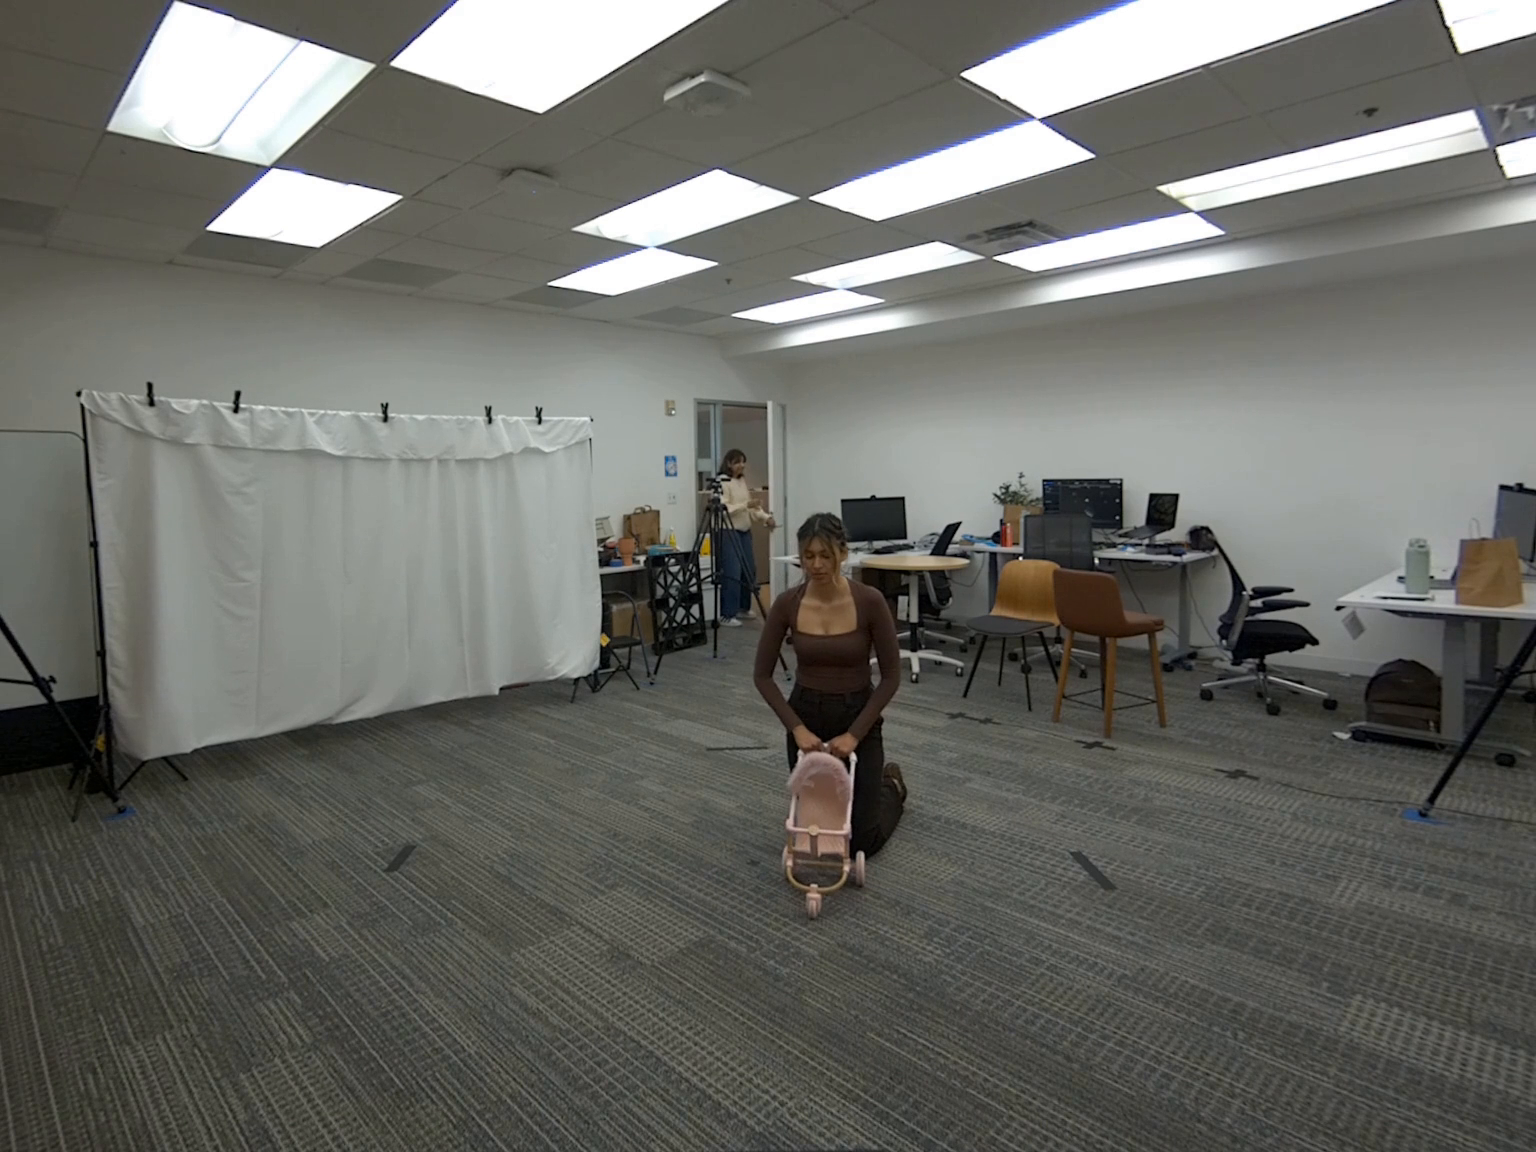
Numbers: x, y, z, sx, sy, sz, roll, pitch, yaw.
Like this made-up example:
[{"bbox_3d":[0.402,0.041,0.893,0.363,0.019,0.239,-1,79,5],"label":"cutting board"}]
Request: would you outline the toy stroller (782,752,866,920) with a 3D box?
[{"bbox_3d":[0.178,0.843,2.872,0.286,0.540,0.332,0,-11,17],"label":"toy stroller"}]
